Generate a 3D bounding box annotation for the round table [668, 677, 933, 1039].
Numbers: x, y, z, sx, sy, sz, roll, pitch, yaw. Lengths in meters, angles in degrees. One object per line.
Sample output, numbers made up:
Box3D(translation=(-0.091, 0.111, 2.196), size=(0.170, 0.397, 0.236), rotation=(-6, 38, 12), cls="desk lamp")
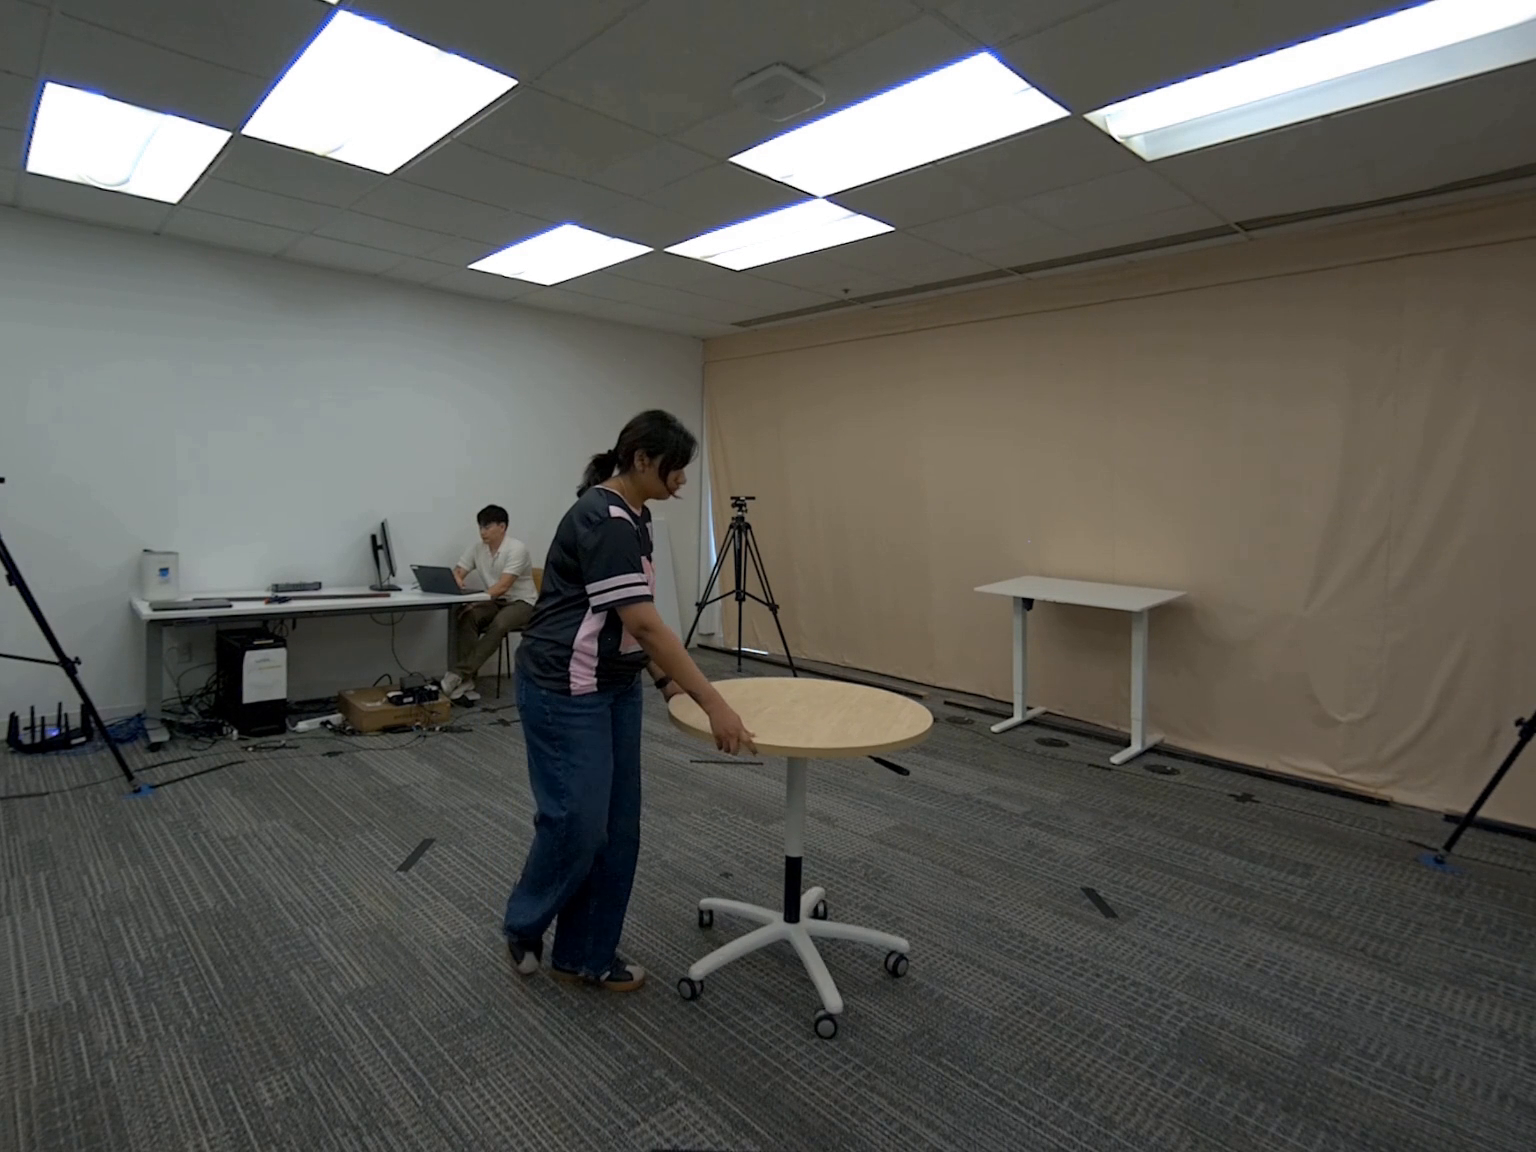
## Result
Box3D(translation=(0.056, 0.769, 2.509), size=(0.784, 0.784, 0.788), rotation=(2, 4, -1), cls="round table")
